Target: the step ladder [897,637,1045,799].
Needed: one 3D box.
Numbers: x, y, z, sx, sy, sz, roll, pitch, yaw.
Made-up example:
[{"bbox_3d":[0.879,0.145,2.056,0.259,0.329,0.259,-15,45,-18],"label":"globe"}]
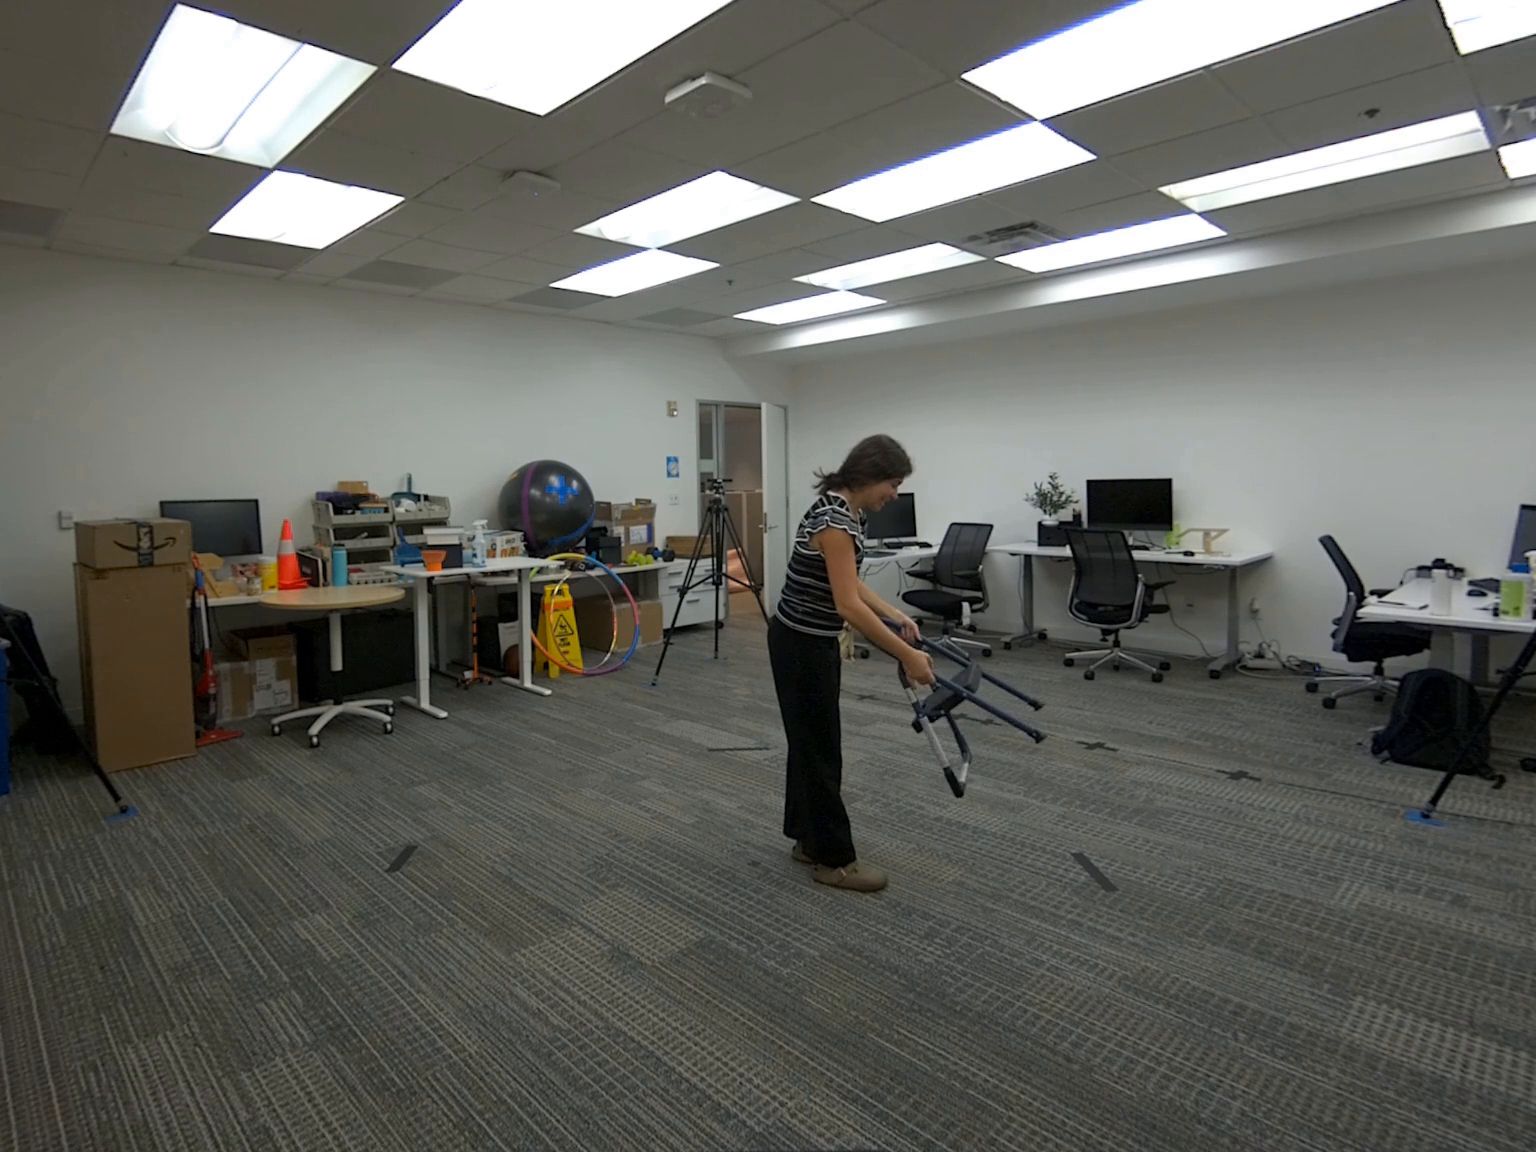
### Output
[{"bbox_3d":[0.585,0.350,2.876,0.350,0.614,0.424,-42,-10,17],"label":"step ladder"}]
